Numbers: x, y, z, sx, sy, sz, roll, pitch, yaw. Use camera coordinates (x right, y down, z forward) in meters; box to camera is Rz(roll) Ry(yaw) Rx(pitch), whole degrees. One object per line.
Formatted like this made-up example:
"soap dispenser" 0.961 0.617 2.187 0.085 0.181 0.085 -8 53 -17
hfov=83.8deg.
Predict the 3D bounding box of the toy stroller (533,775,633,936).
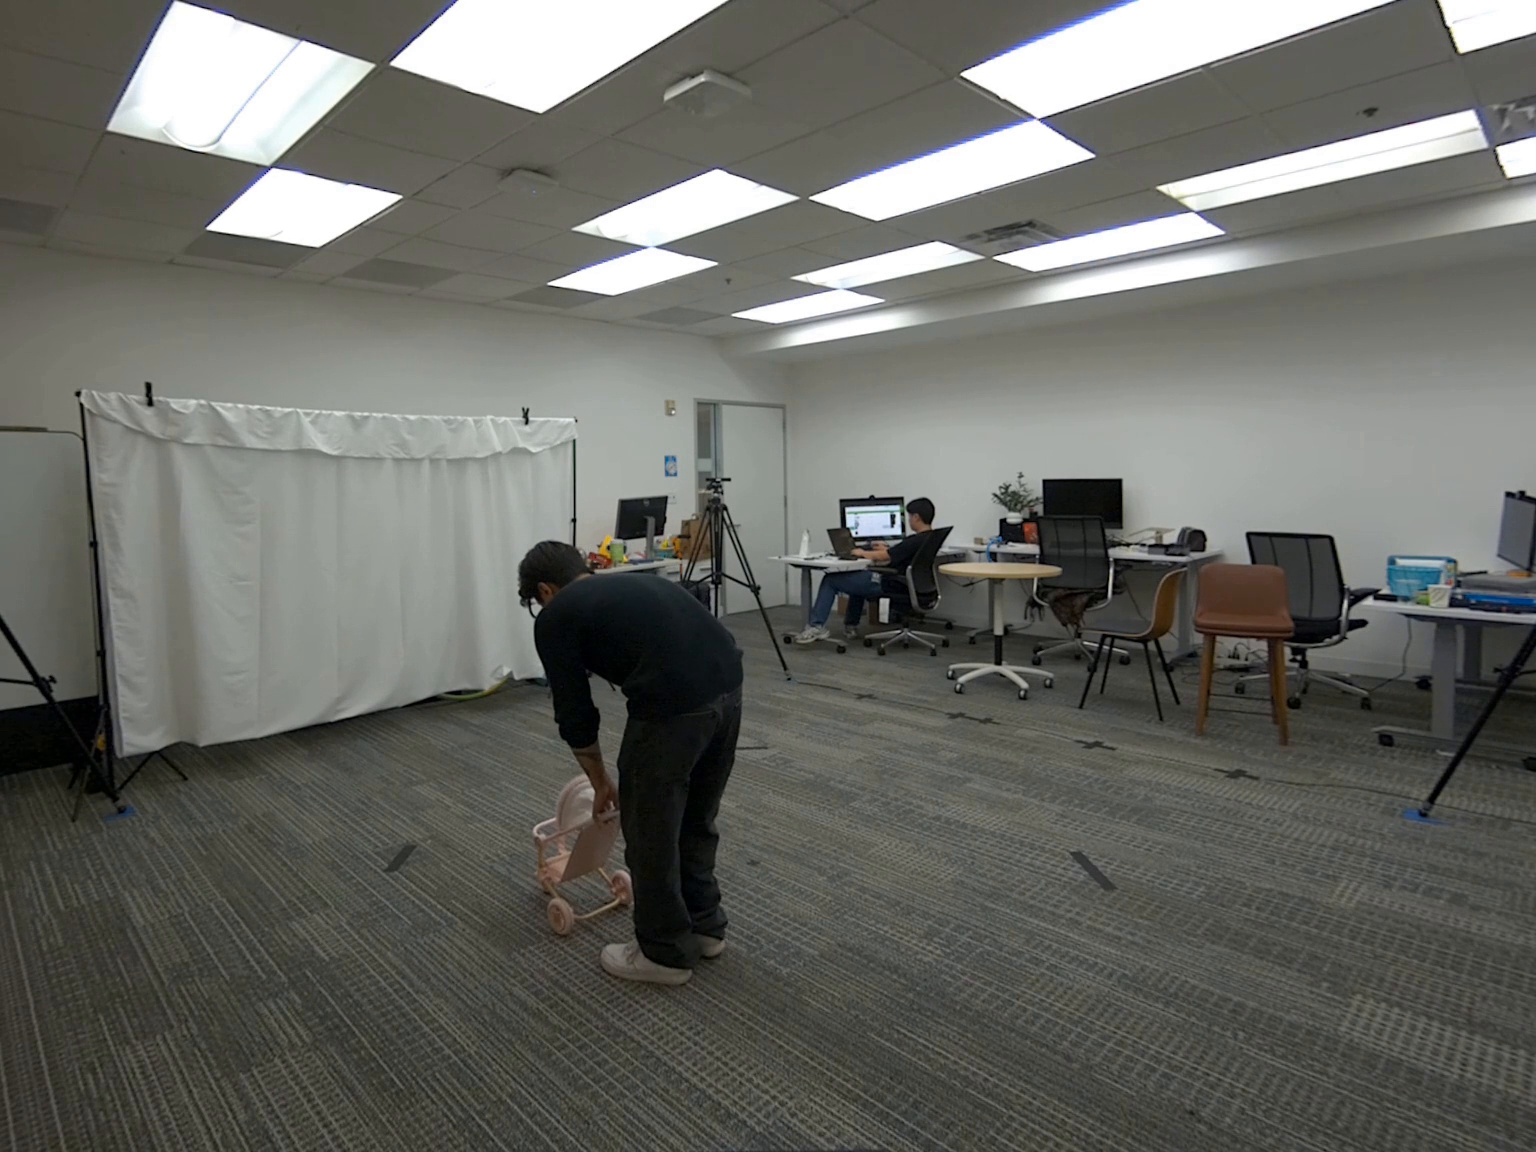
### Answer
"toy stroller" -0.605 0.873 2.763 0.274 0.529 0.354 -5 24 -43
